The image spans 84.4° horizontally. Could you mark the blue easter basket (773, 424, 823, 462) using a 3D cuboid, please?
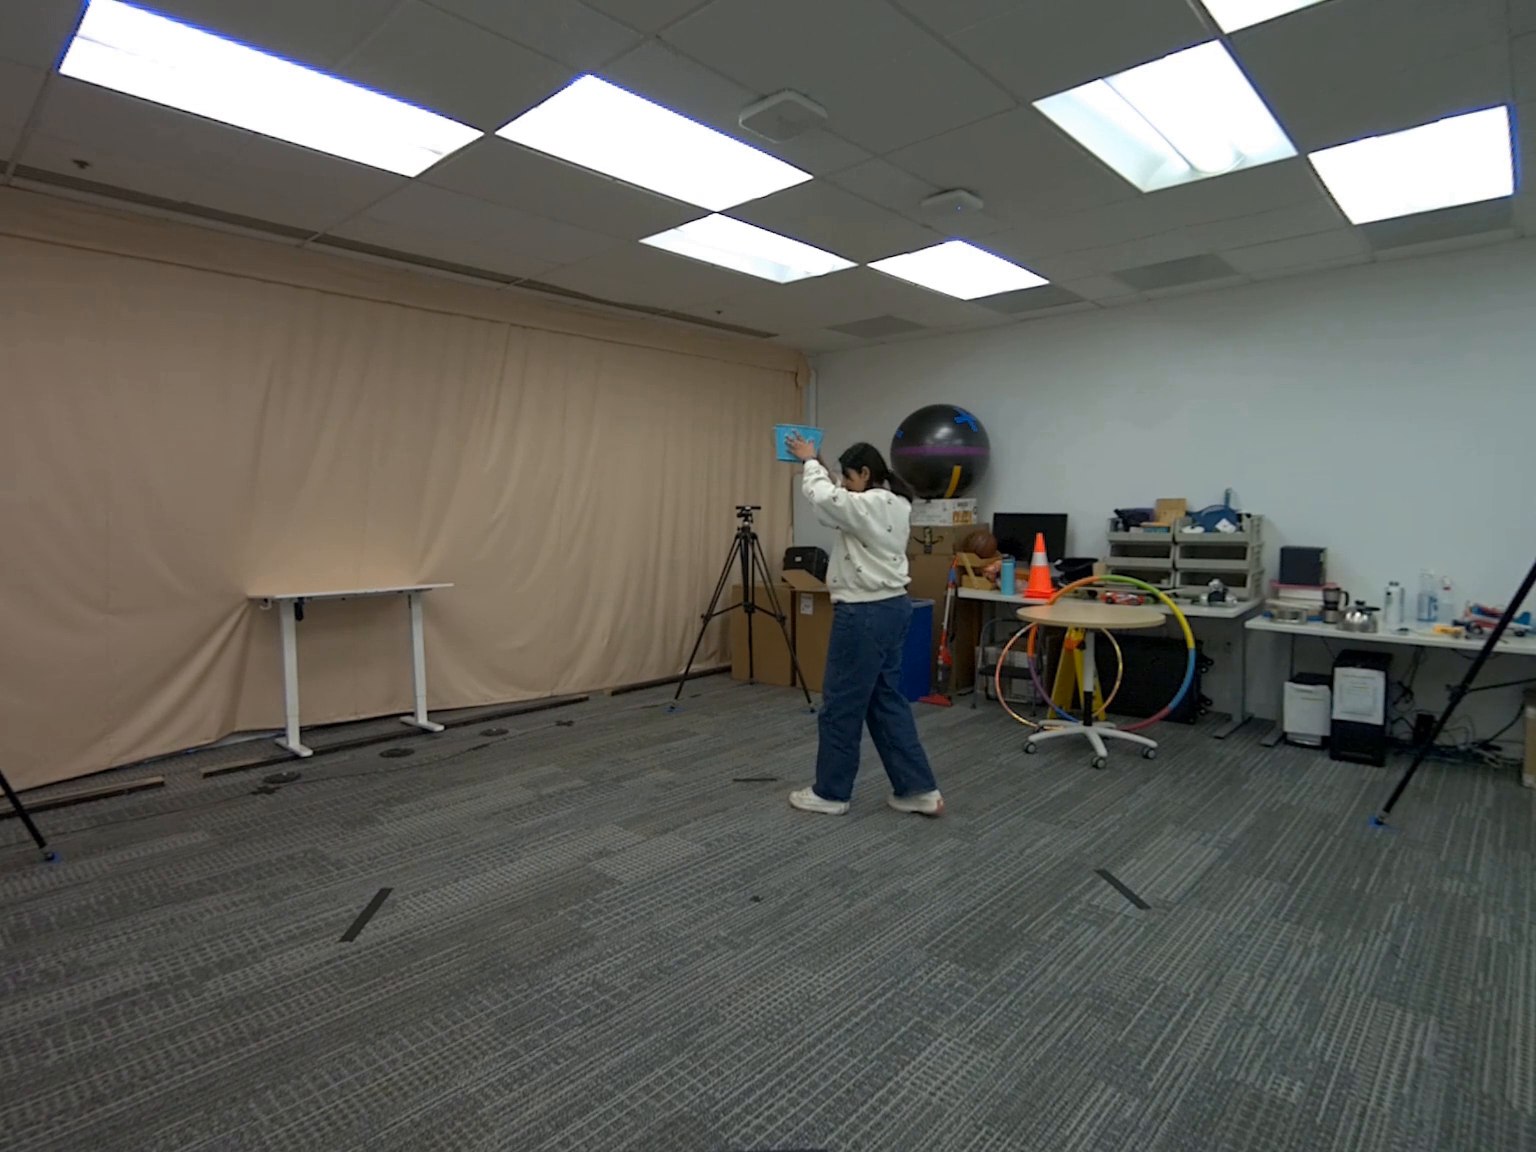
[{"bbox_3d":[0.135,-0.611,3.897,0.243,0.155,0.245,6,6,-2],"label":"blue easter basket"}]
